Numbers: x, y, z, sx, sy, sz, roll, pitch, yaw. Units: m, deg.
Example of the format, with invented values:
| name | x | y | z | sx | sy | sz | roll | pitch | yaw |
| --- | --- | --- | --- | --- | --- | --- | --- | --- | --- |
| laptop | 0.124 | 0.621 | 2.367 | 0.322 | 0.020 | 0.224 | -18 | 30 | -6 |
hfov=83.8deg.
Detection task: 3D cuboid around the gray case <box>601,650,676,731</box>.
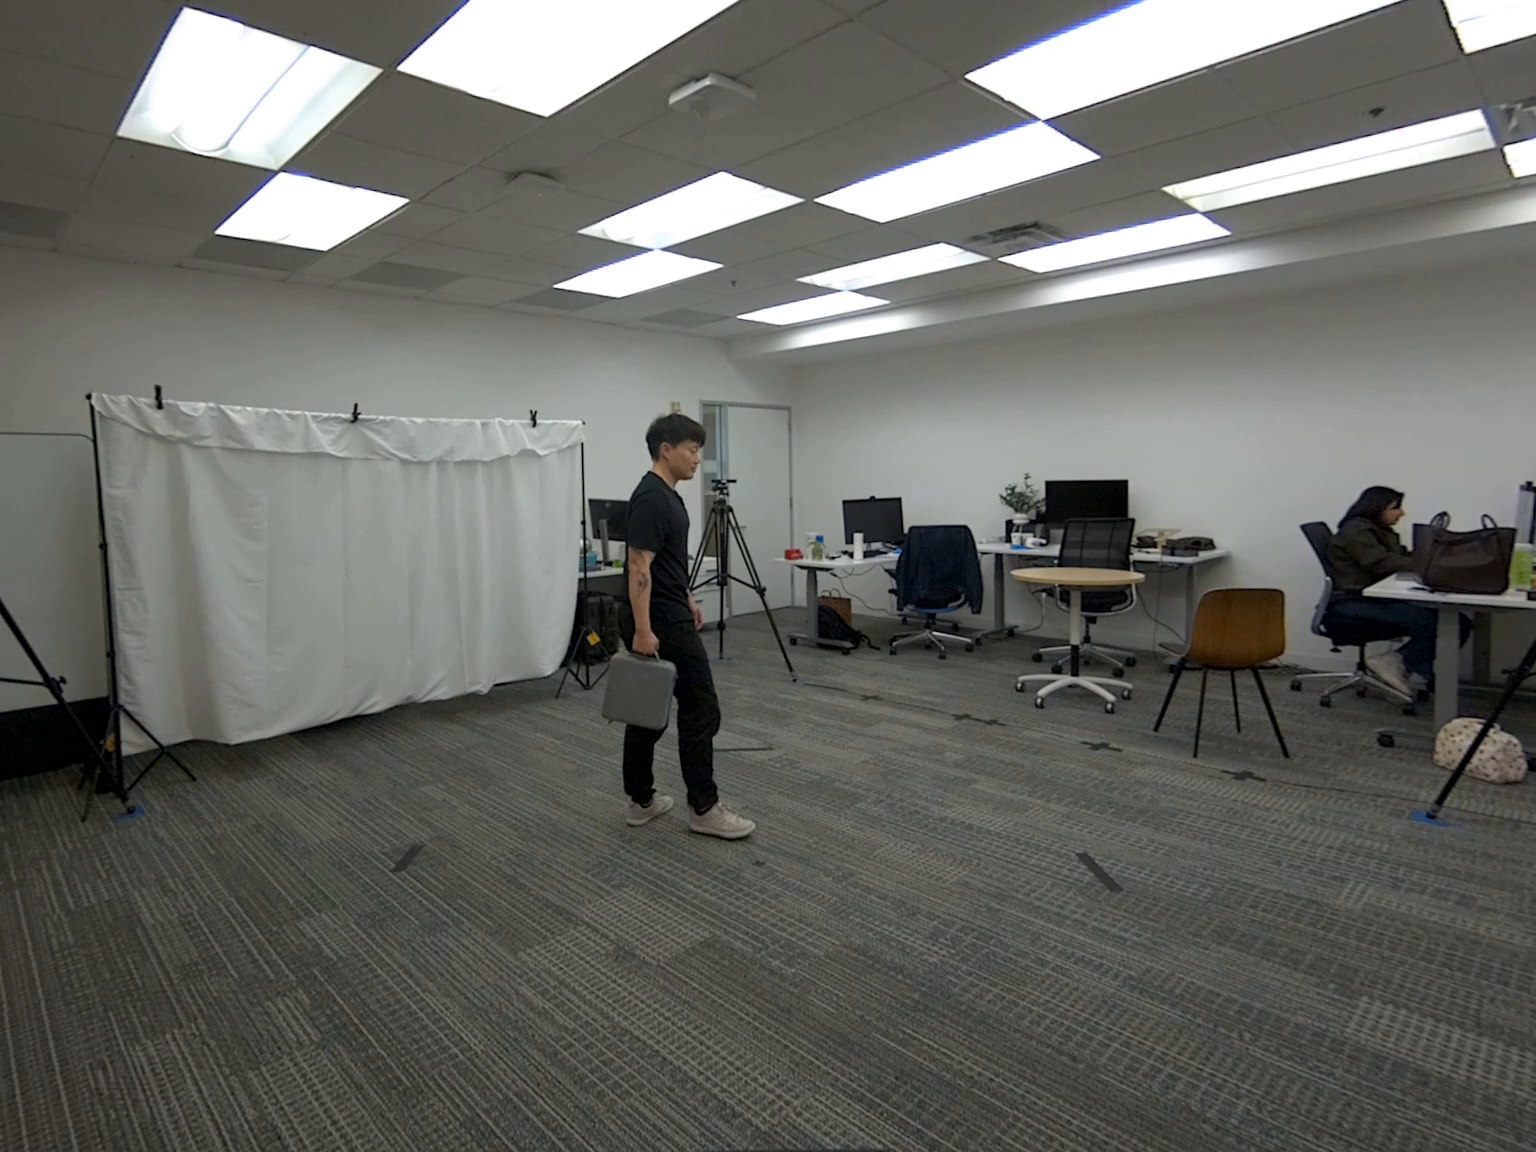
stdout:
| name | x | y | z | sx | sy | sz | roll | pitch | yaw |
| --- | --- | --- | --- | --- | --- | --- | --- | --- | --- |
| gray case | -0.490 | 0.439 | 3.247 | 0.258 | 0.260 | 0.104 | 8 | 3 | 4 |
